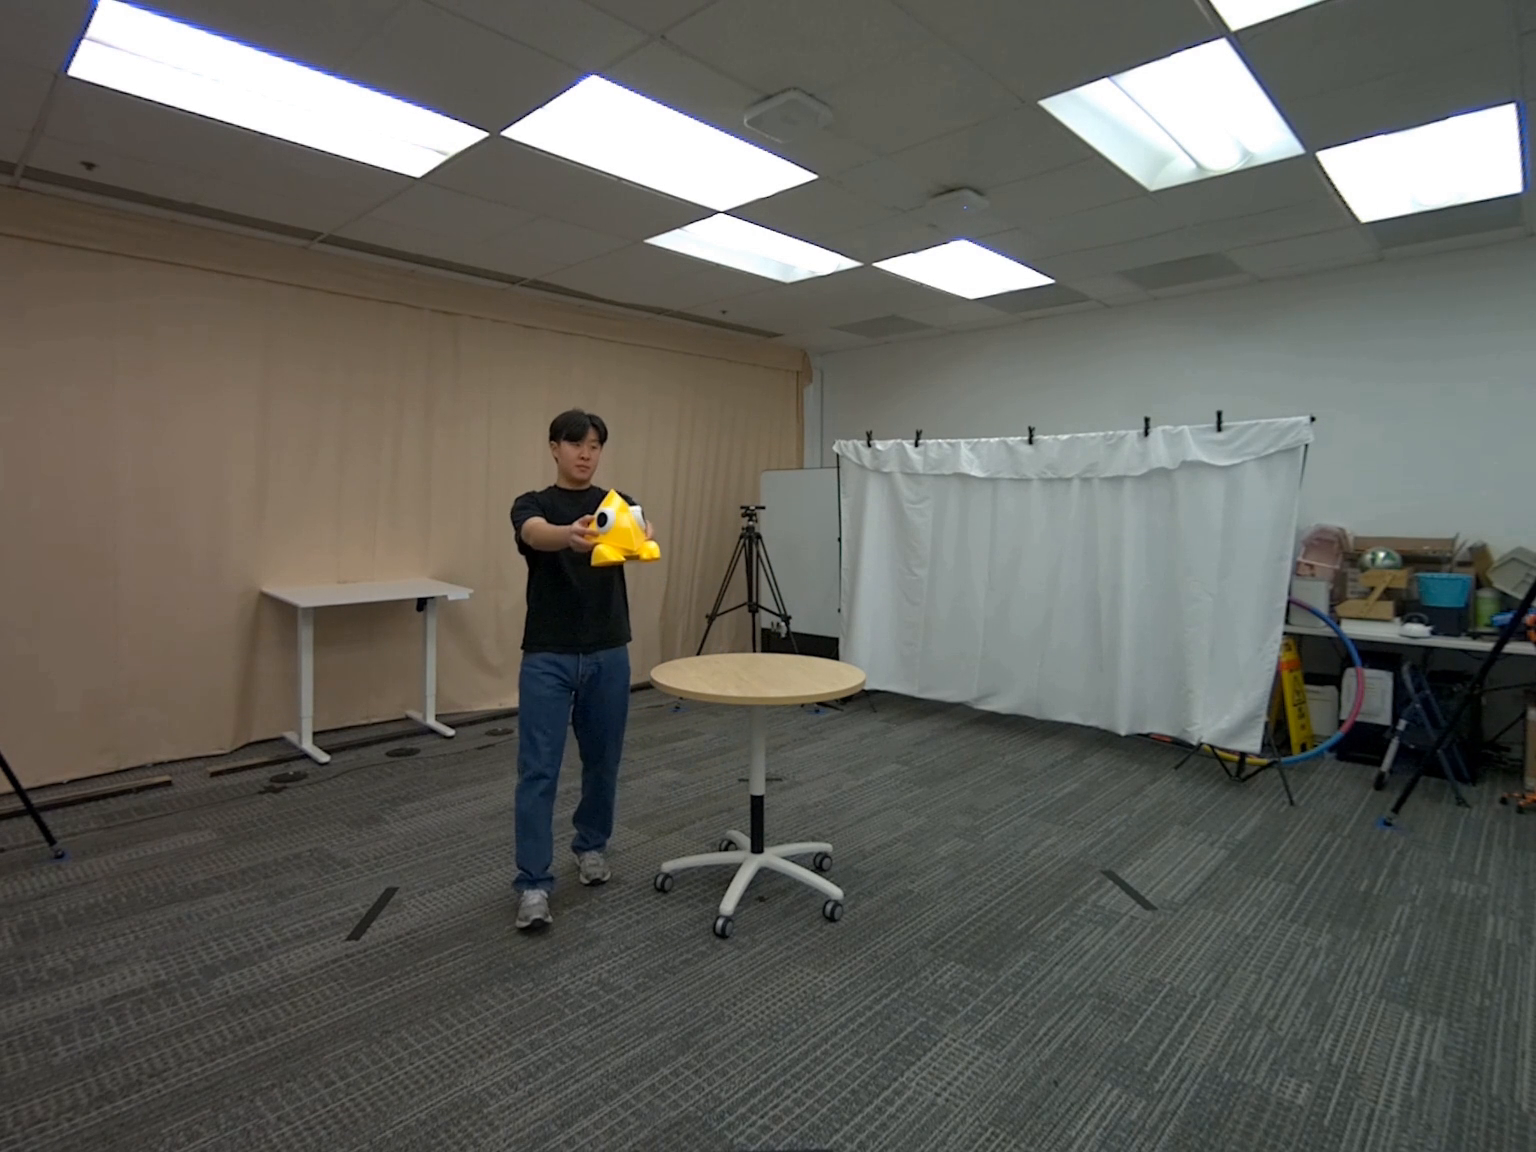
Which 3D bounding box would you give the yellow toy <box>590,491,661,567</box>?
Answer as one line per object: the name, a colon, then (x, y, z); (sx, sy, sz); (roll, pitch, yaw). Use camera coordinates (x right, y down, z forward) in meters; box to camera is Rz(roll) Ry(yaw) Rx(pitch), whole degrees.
yellow toy: (-0.438, -0.157, 2.499); (0.200, 0.231, 0.197); (-3, -4, -27)
